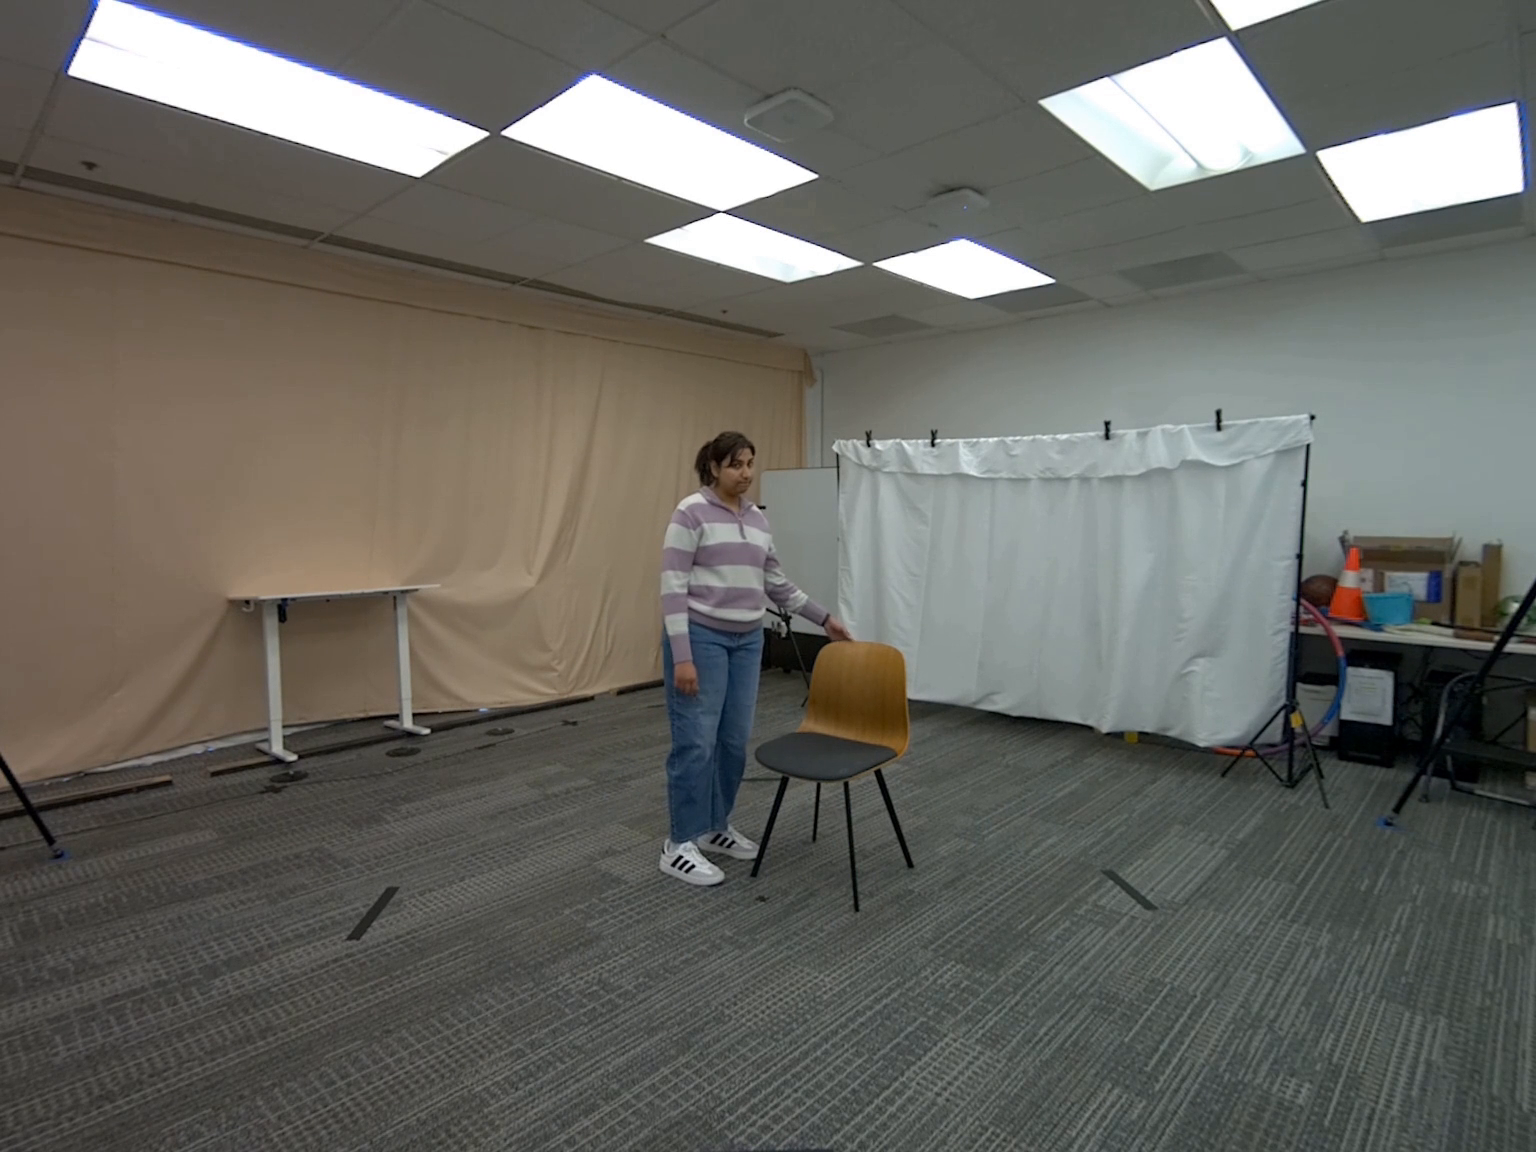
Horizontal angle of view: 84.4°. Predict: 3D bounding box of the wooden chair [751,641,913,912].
[{"bbox_3d":[0.252,0.699,3.154,0.493,0.877,0.507,3,0,36],"label":"wooden chair"}]
